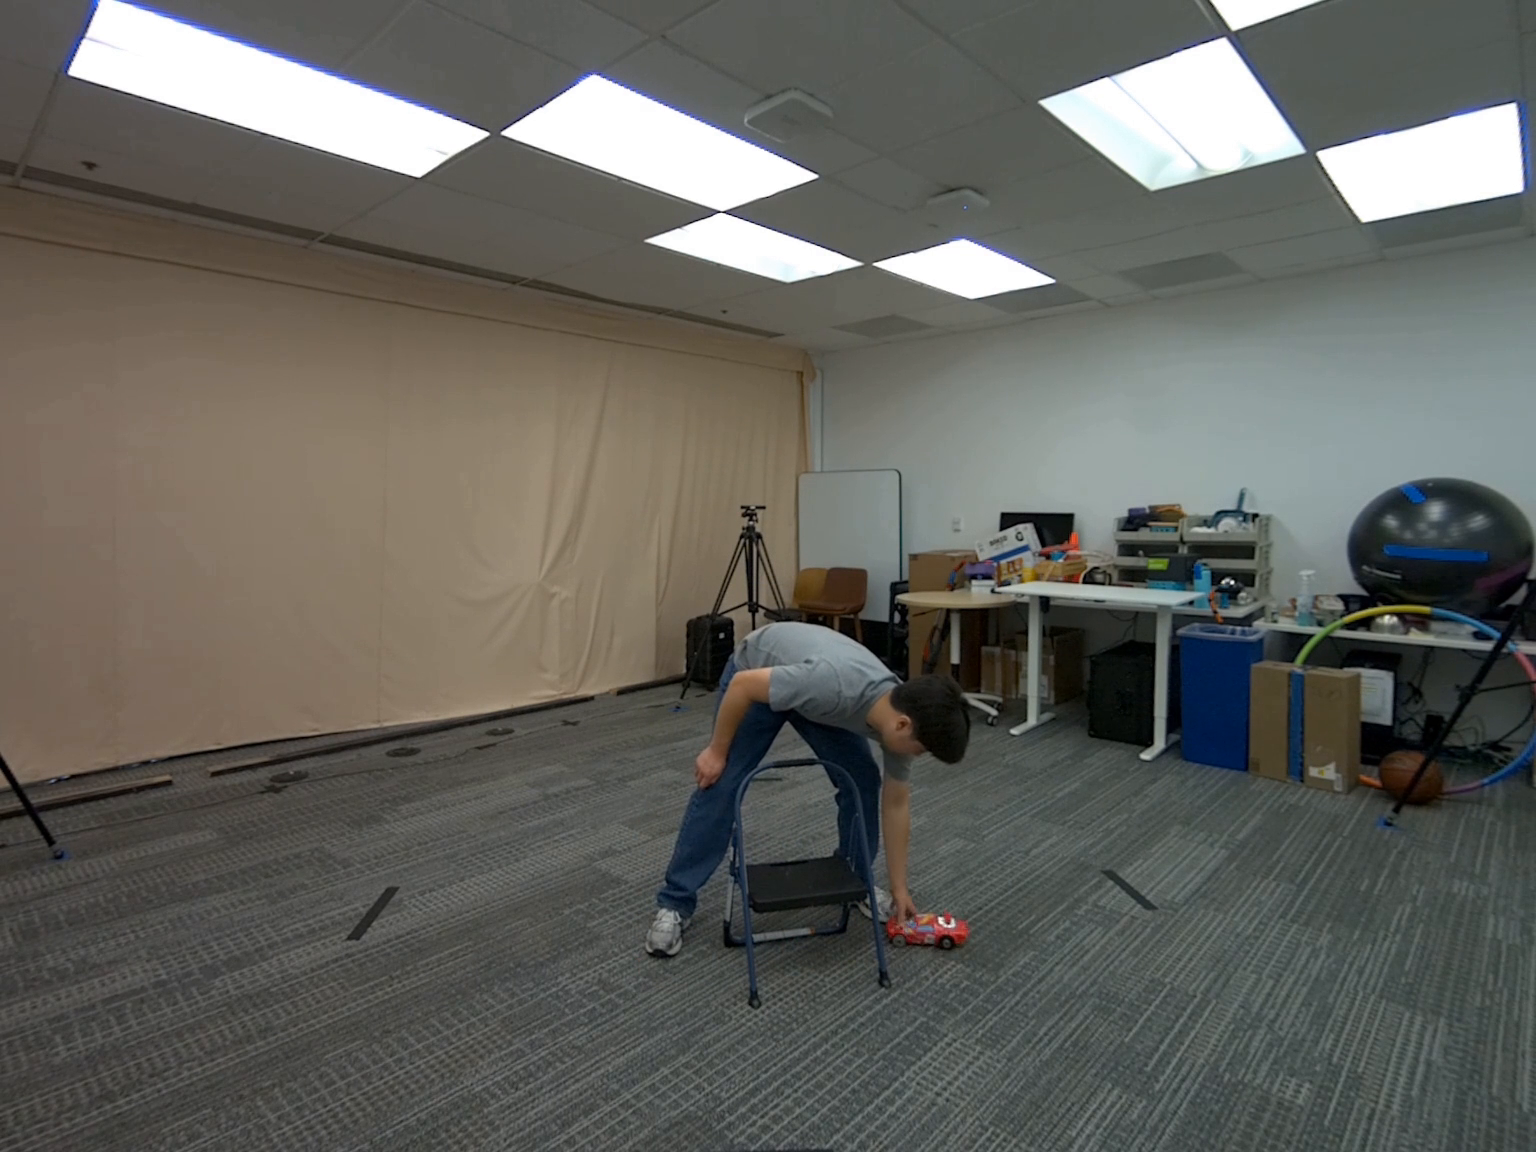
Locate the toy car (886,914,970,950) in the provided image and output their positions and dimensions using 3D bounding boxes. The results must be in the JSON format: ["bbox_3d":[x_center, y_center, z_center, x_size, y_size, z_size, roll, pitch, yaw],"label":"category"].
[{"bbox_3d":[0.512,1.138,2.674,0.256,0.083,0.129,-13,1,7],"label":"toy car"}]
